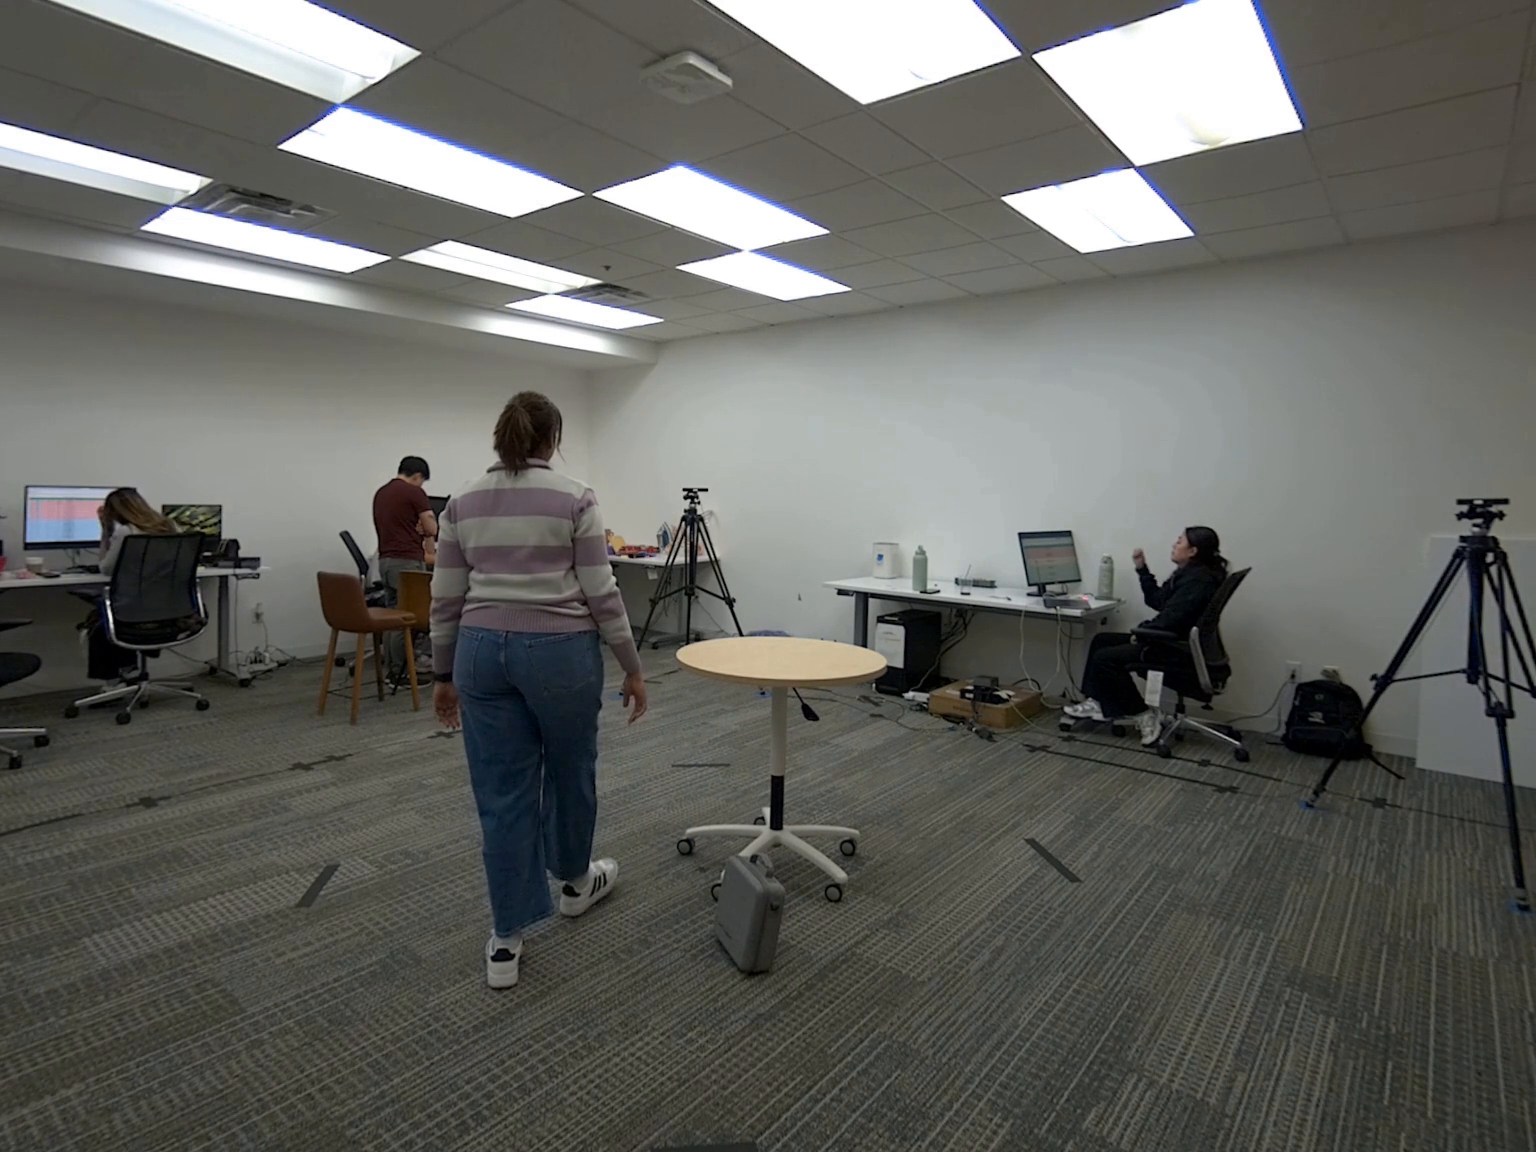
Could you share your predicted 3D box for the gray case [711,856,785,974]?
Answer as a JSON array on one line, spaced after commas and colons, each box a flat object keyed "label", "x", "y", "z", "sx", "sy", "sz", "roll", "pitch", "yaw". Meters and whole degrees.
[{"label": "gray case", "x": -0.066, "y": 0.997, "z": 2.536, "sx": 0.101, "sy": 0.261, "sz": 0.264, "roll": 12, "pitch": 0, "yaw": -25}]
